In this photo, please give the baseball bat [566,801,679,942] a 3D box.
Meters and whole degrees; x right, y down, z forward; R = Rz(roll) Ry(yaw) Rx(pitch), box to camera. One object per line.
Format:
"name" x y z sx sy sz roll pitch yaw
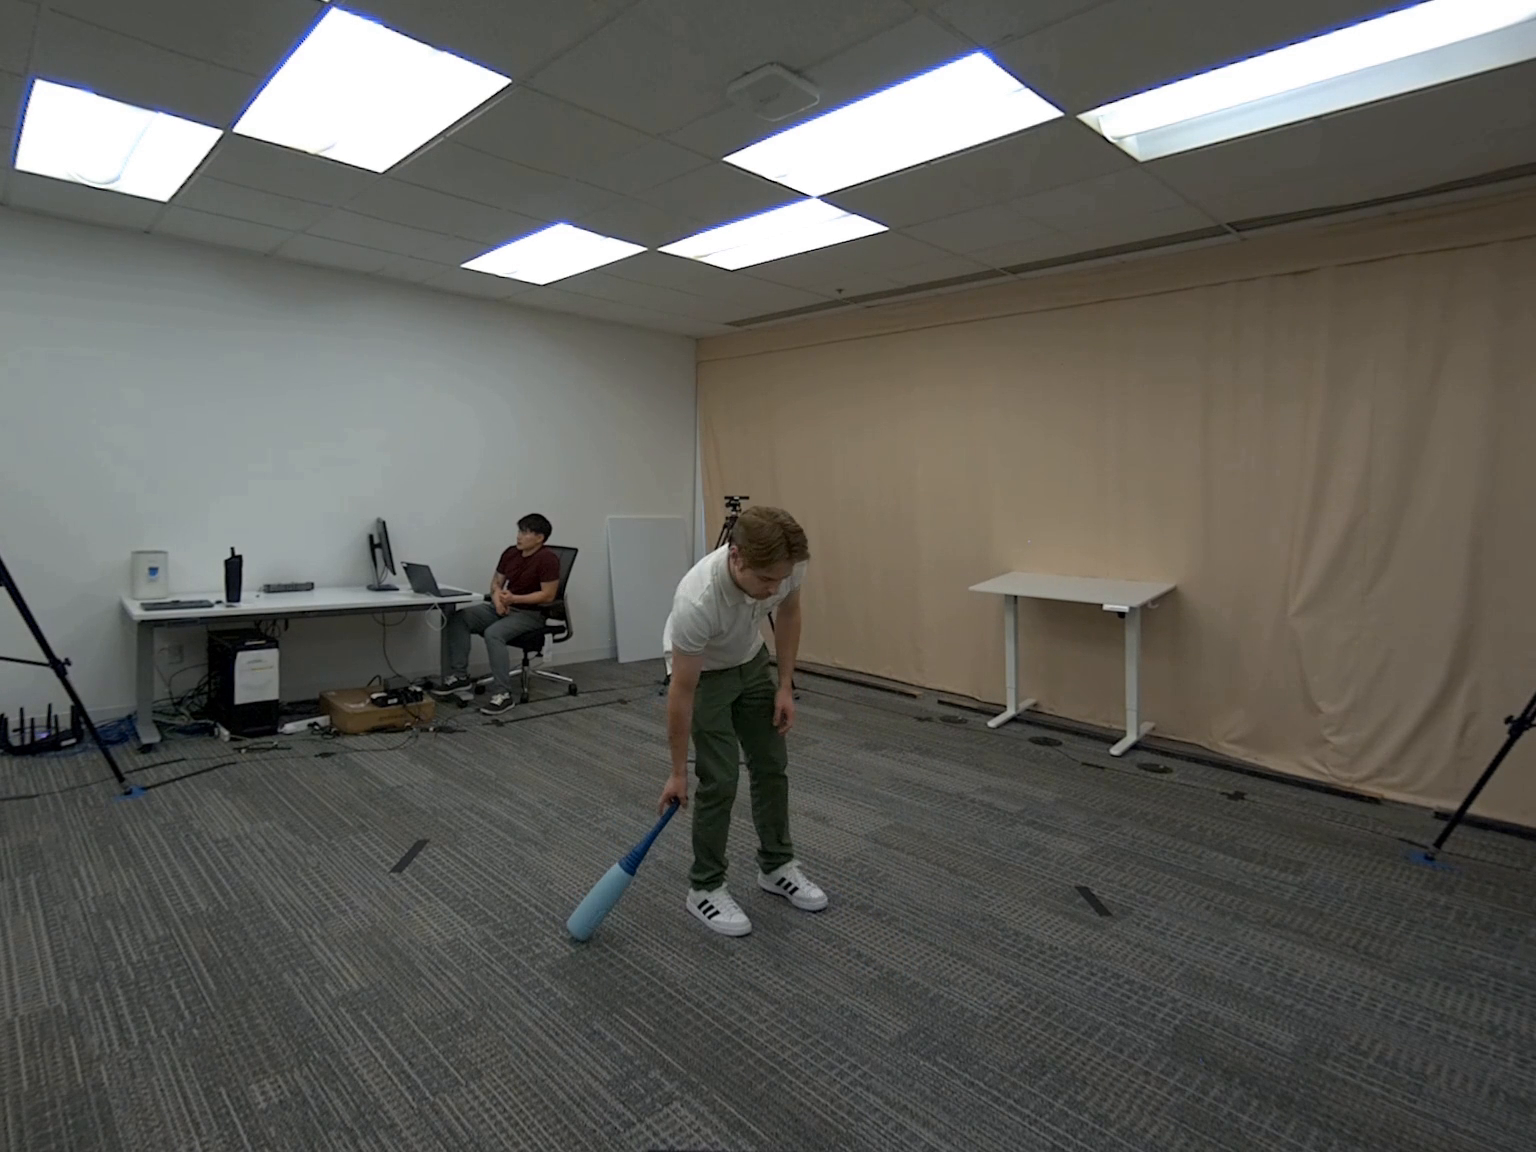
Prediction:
"baseball bat" -0.445 0.913 2.642 0.089 0.543 0.089 39 -5 2
